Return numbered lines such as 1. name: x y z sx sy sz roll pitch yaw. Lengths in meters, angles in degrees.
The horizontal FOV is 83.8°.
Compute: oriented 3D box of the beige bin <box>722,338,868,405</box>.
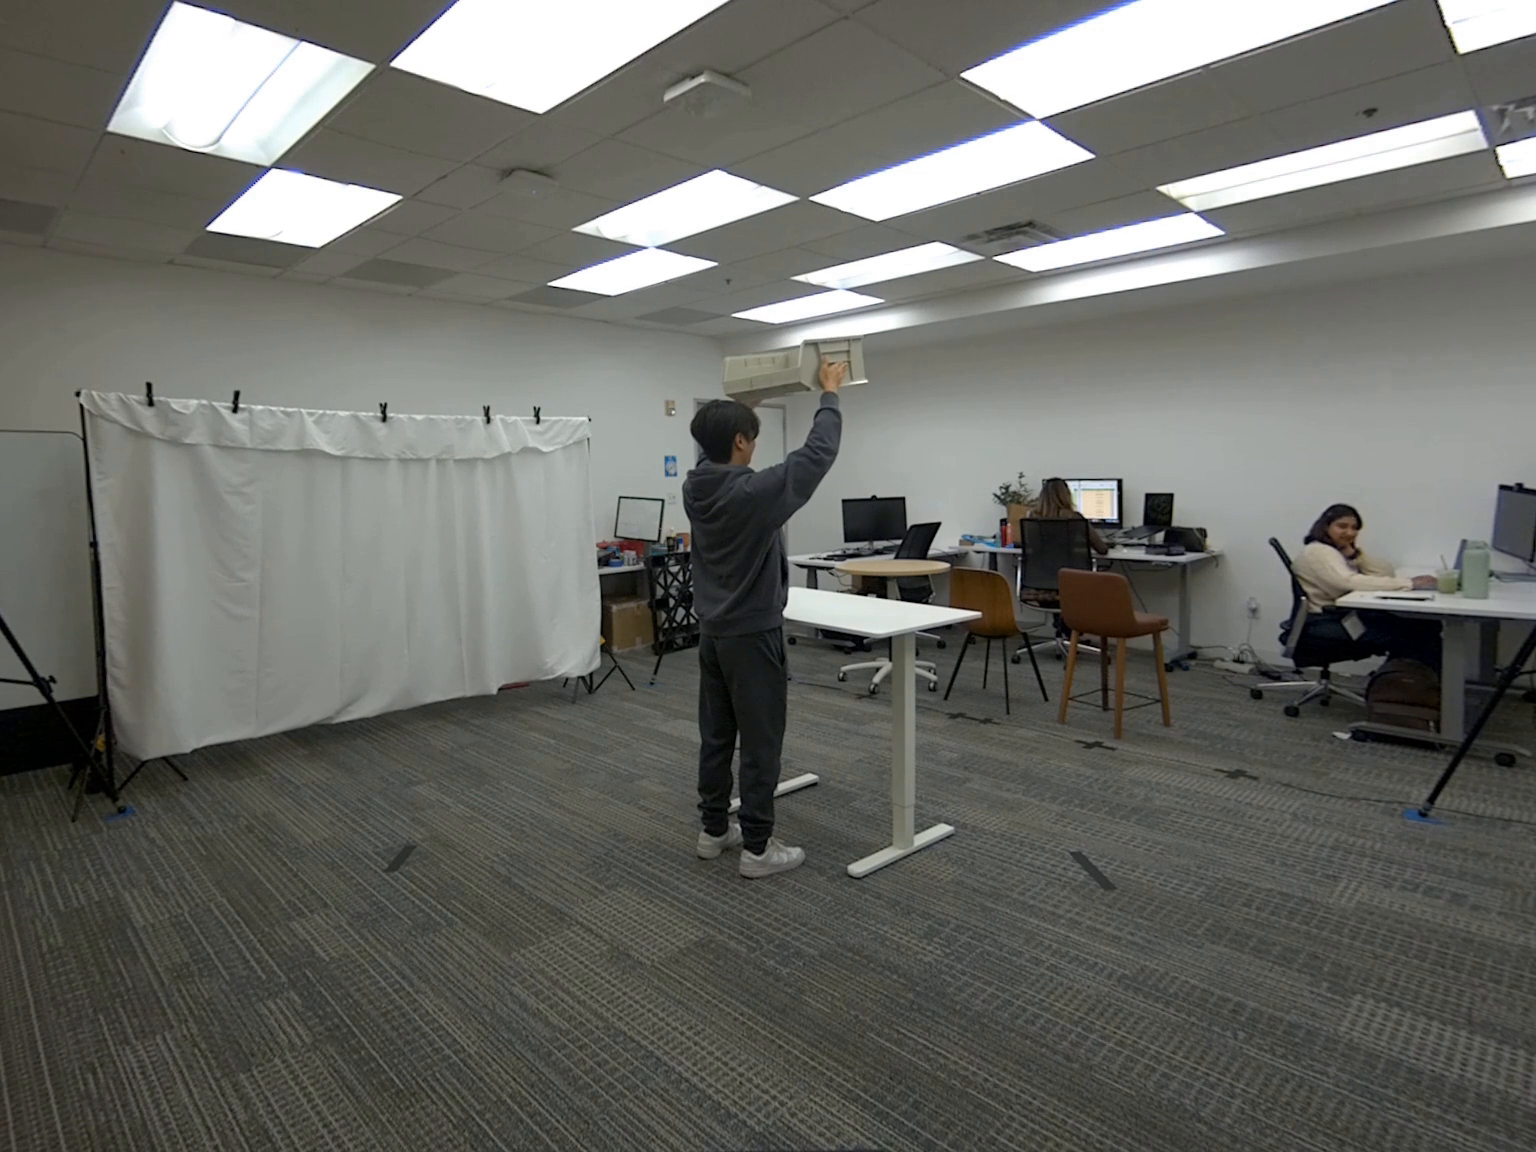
1. beige bin: 0.099 -0.777 3.229 0.369 0.187 0.435 -16 12 -40
